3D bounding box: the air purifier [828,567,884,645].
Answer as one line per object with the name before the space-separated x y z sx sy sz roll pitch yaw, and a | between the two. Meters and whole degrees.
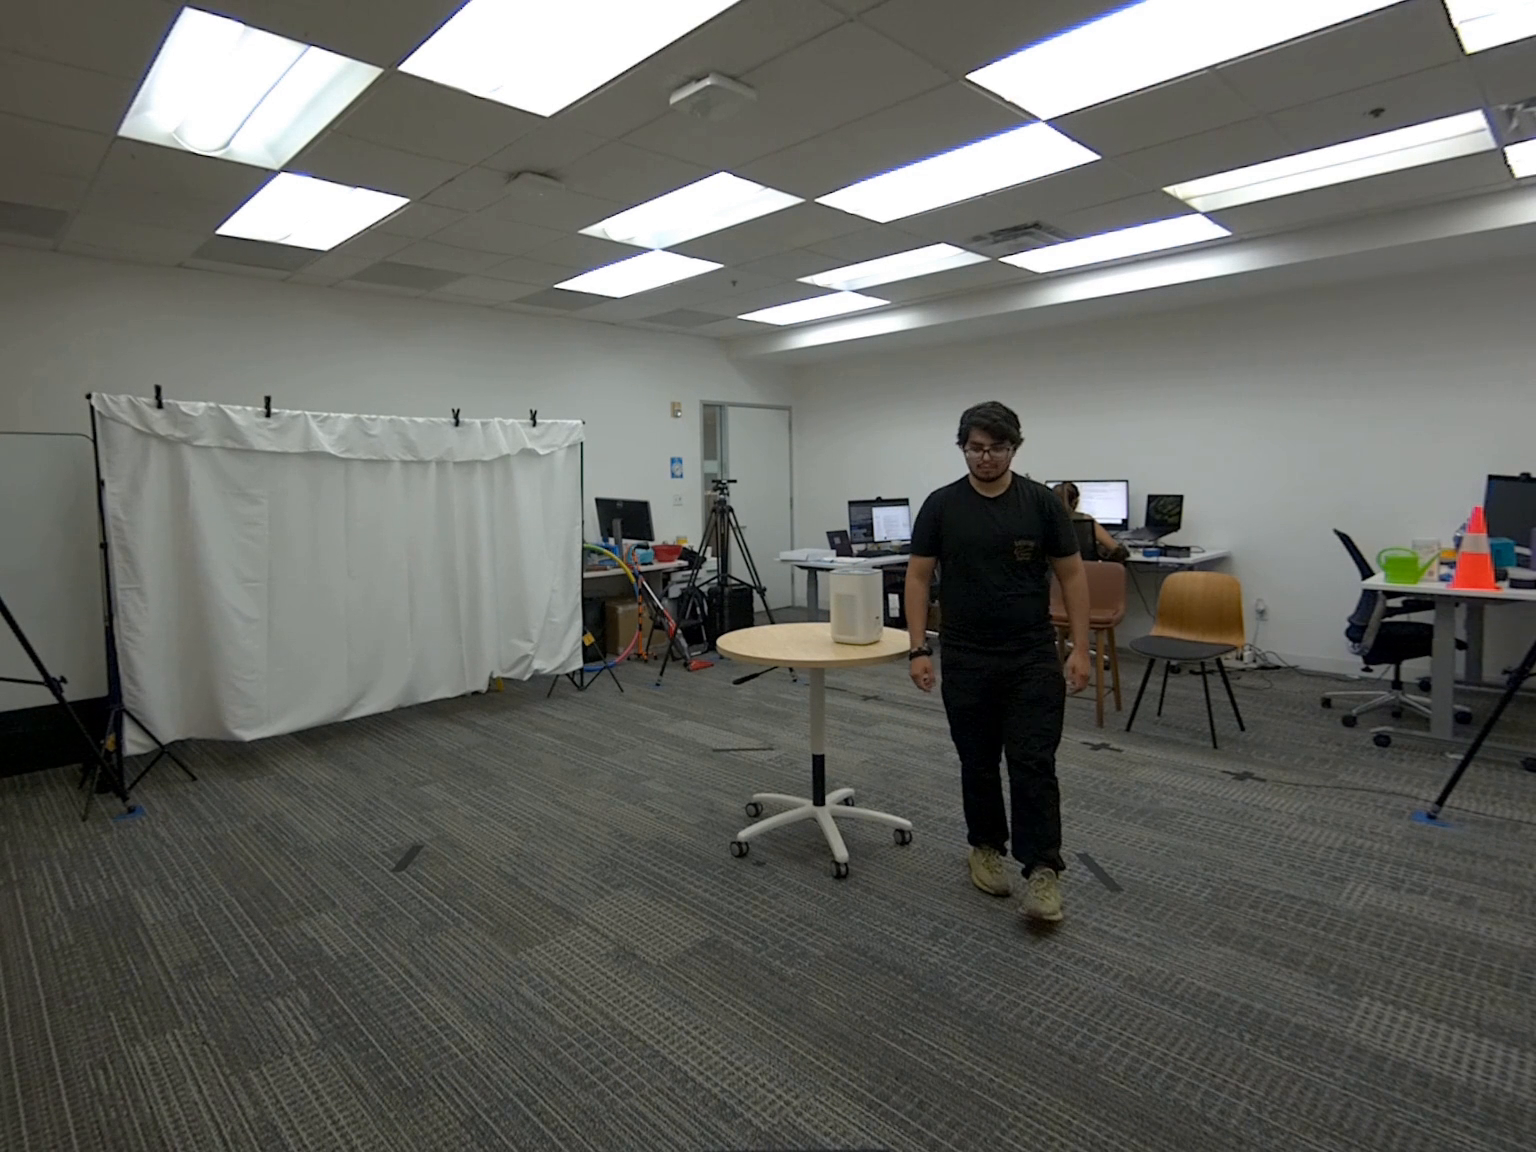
air purifier | 0.339 0.112 3.195 0.176 0.264 0.167 1 6 34
